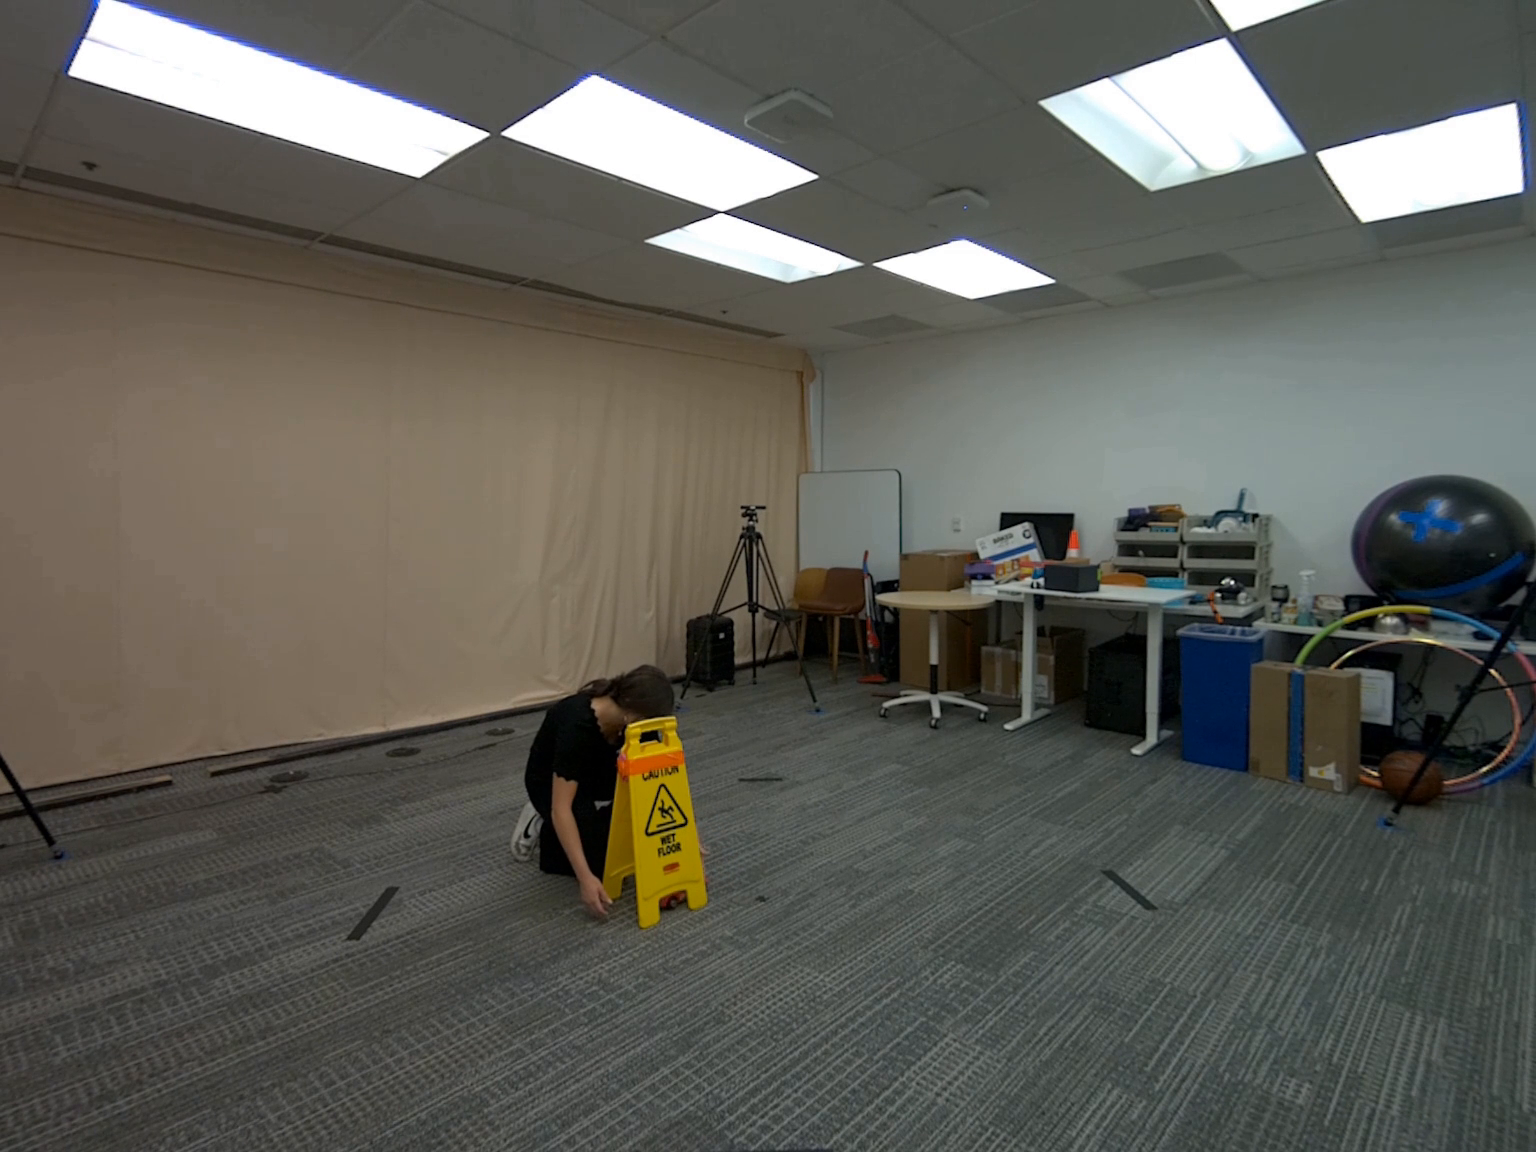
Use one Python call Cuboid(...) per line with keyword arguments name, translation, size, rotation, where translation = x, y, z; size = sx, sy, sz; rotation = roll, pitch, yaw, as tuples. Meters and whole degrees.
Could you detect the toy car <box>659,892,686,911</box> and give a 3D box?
Cuboid(name="toy car", translation=(-0.357, 1.112, 2.981), size=(0.135, 0.083, 0.246), rotation=(6, 0, 43))
